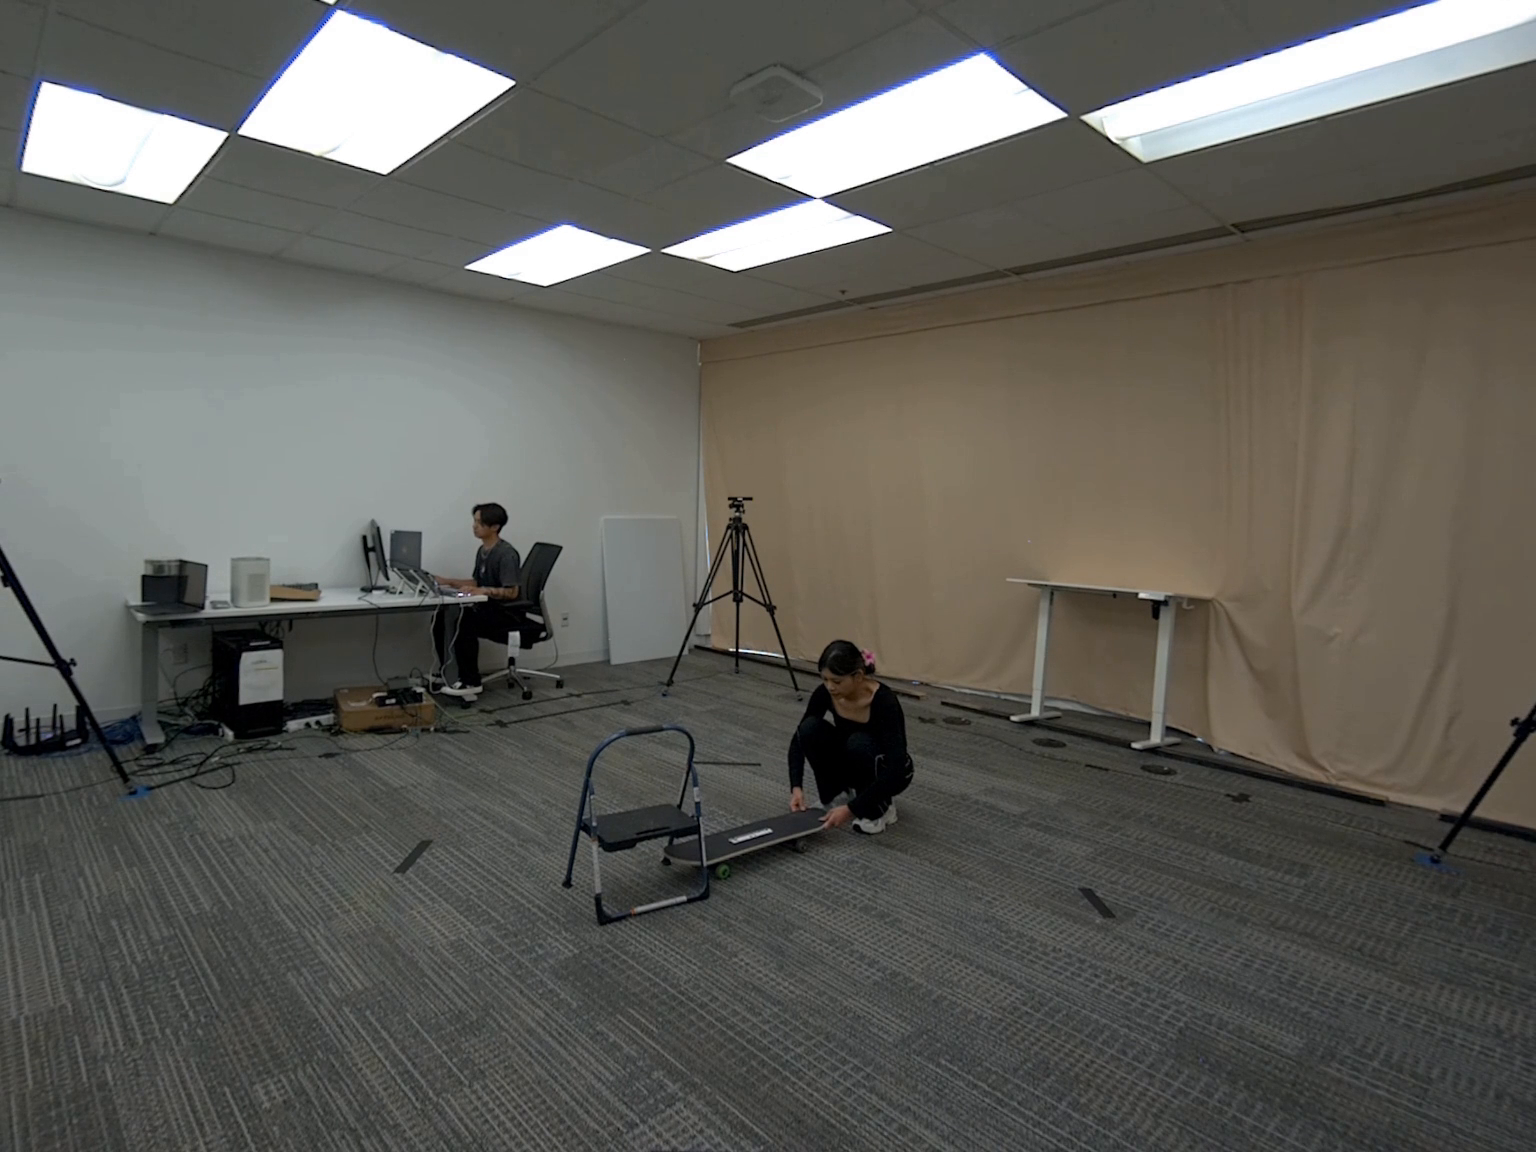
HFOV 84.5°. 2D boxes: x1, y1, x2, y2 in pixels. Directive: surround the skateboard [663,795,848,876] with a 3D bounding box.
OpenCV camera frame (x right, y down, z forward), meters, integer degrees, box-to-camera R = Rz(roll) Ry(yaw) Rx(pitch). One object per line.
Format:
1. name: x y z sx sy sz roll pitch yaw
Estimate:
1. skateboard: -0.073 1.038 3.257 0.768 0.110 0.198 -2 6 -39
